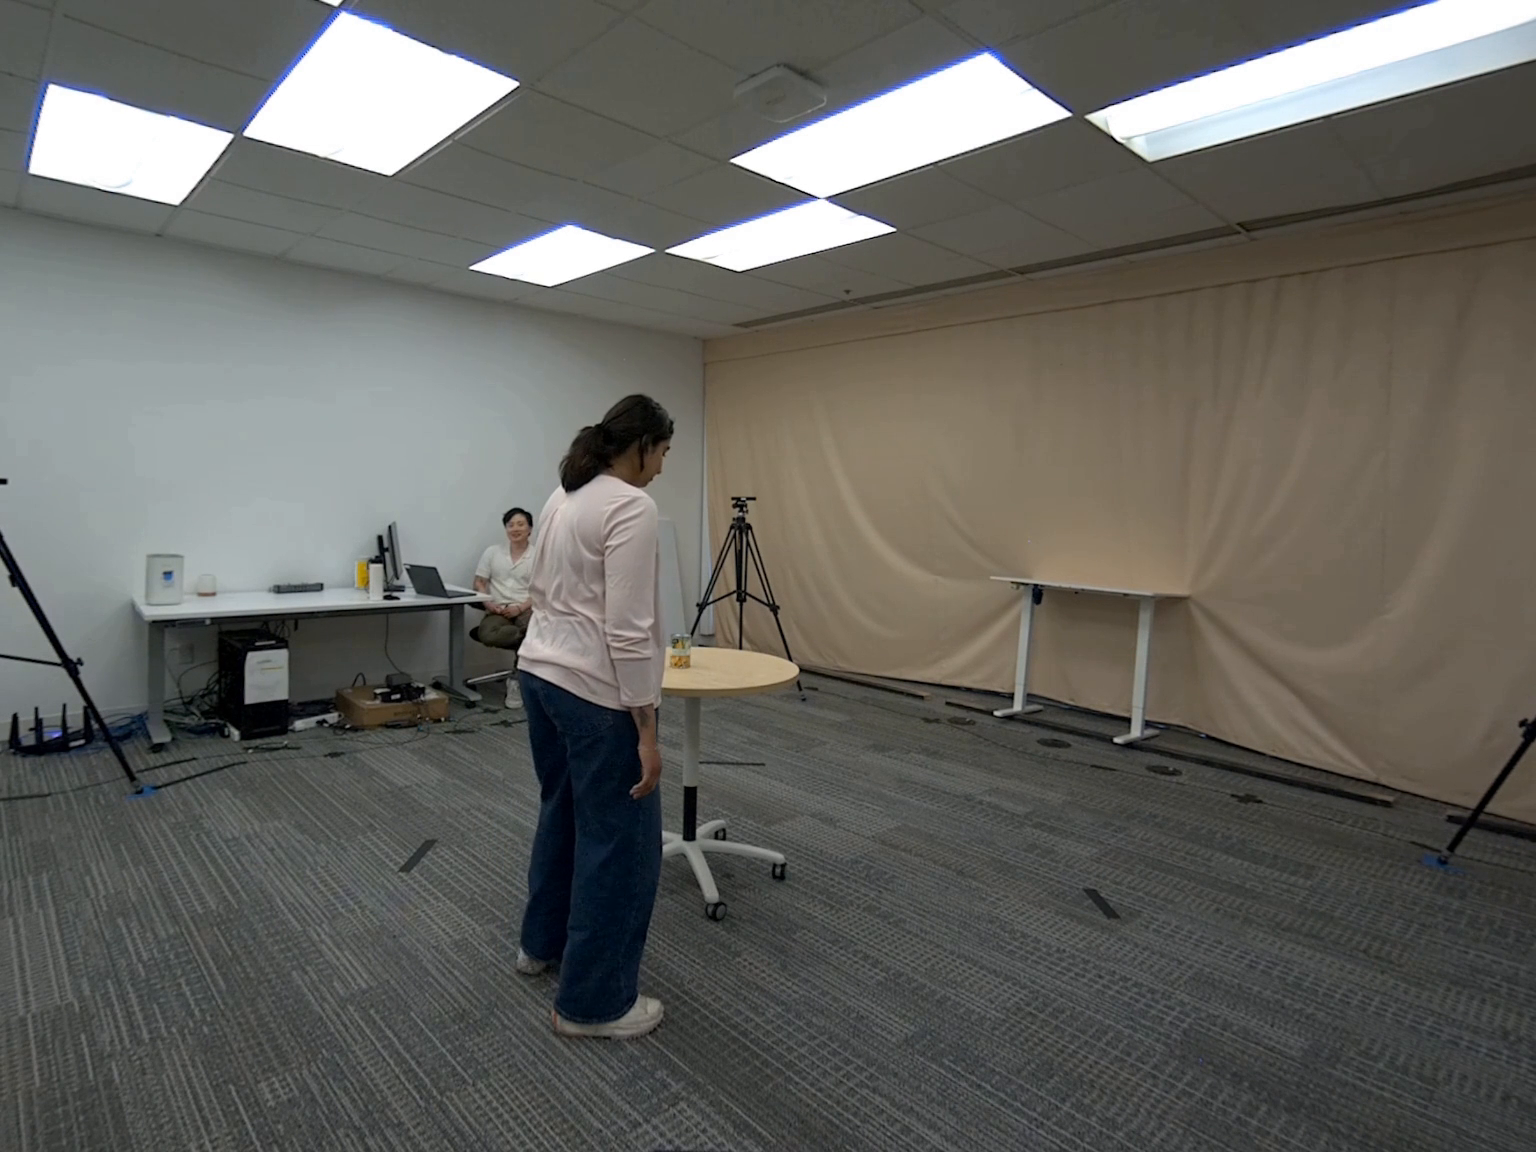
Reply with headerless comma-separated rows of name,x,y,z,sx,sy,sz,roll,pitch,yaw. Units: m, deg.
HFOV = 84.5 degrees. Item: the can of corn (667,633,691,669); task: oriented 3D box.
can of corn,-0.323,0.271,3.019,0.074,0.111,0.074,1,2,-1
